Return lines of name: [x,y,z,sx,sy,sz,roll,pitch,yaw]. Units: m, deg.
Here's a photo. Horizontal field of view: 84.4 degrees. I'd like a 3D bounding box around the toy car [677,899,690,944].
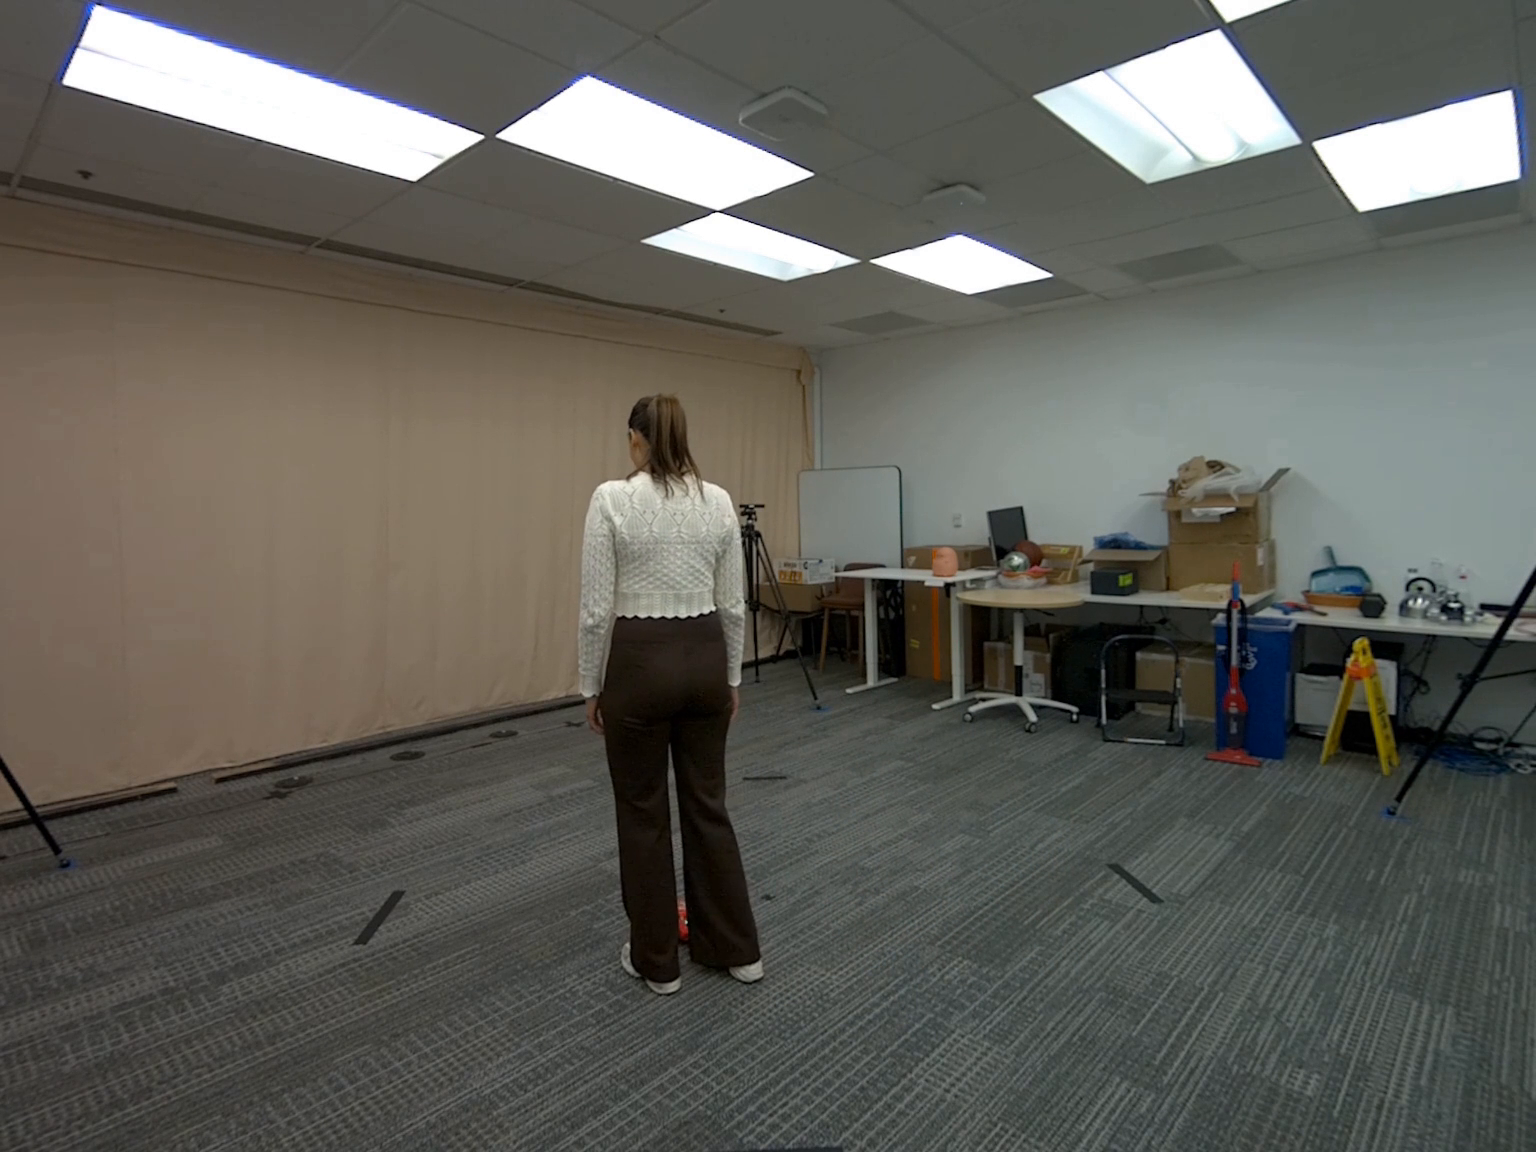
toy car: [-0.279,1.134,2.758,0.127,0.083,0.260,-3,-6,-28]
